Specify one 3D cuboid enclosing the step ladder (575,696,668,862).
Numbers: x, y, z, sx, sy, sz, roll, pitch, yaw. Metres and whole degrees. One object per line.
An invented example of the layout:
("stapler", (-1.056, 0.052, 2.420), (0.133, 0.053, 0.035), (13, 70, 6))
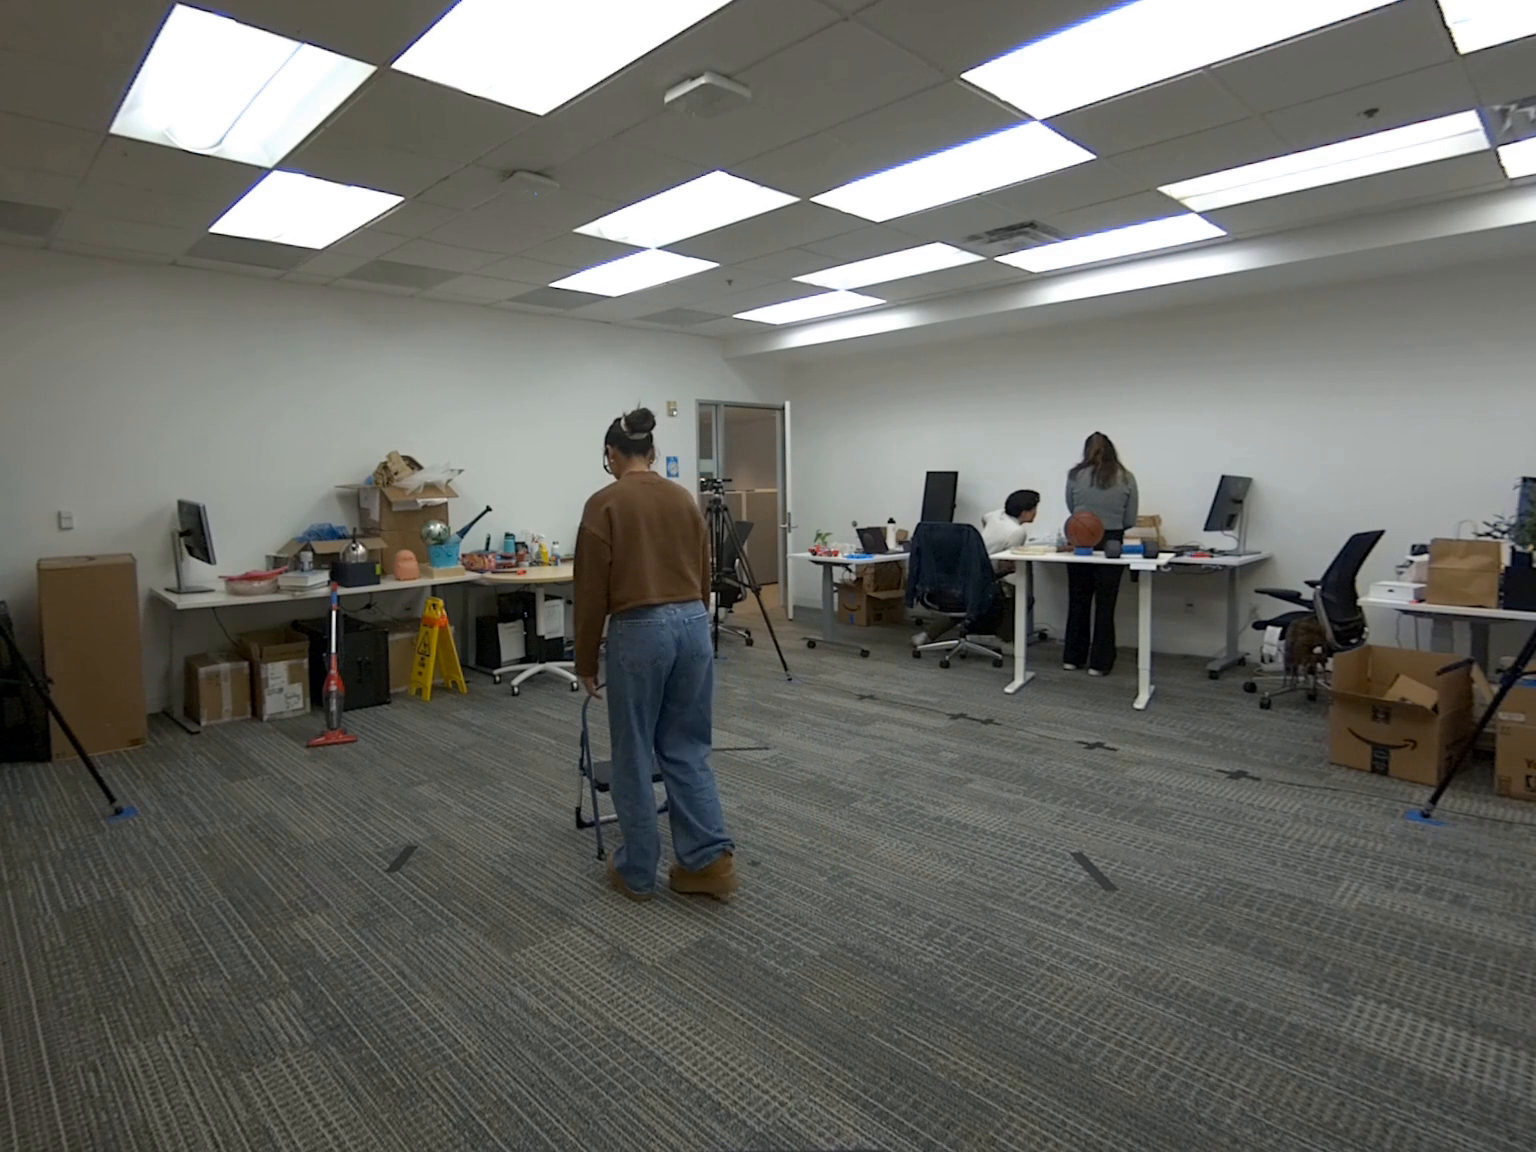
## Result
("step ladder", (-0.522, 0.719, 3.381), (0.421, 0.604, 0.358), (-3, 5, -27))
